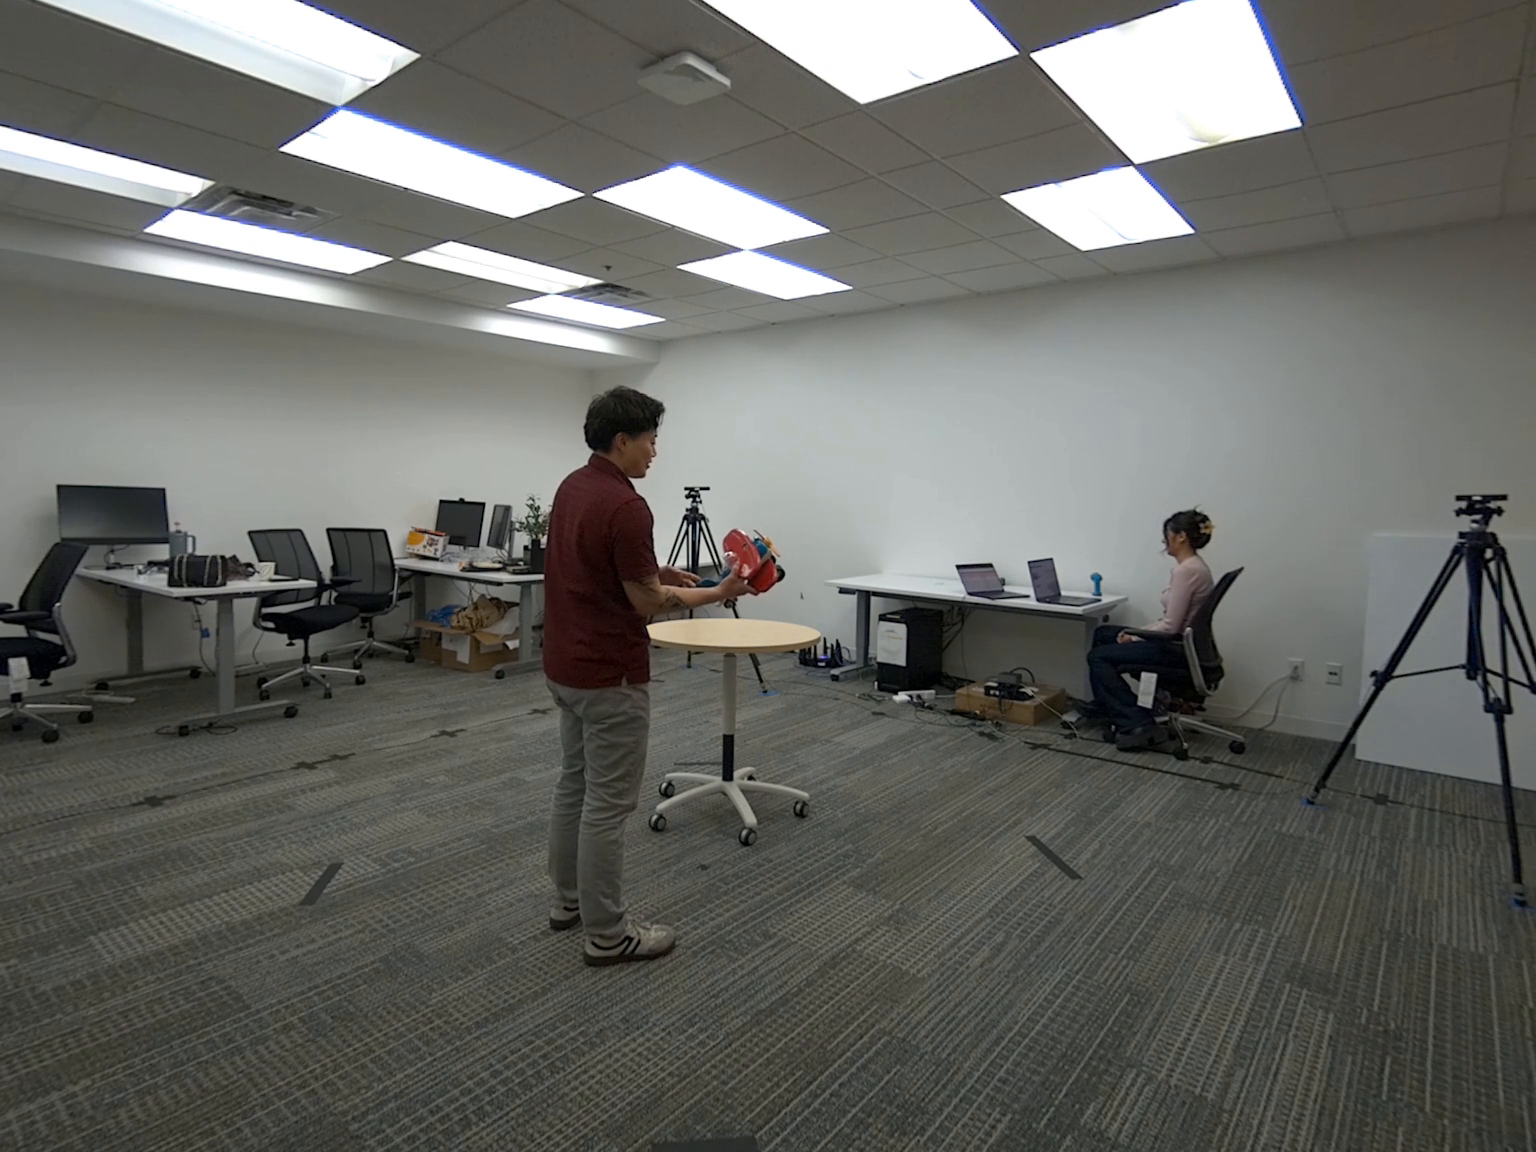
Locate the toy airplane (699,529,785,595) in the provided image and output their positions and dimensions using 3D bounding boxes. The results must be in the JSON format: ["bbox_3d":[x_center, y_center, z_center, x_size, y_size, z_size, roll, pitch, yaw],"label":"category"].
[{"bbox_3d":[-0.081,-0.015,2.651,0.261,0.259,0.150,15,-32,47],"label":"toy airplane"}]
